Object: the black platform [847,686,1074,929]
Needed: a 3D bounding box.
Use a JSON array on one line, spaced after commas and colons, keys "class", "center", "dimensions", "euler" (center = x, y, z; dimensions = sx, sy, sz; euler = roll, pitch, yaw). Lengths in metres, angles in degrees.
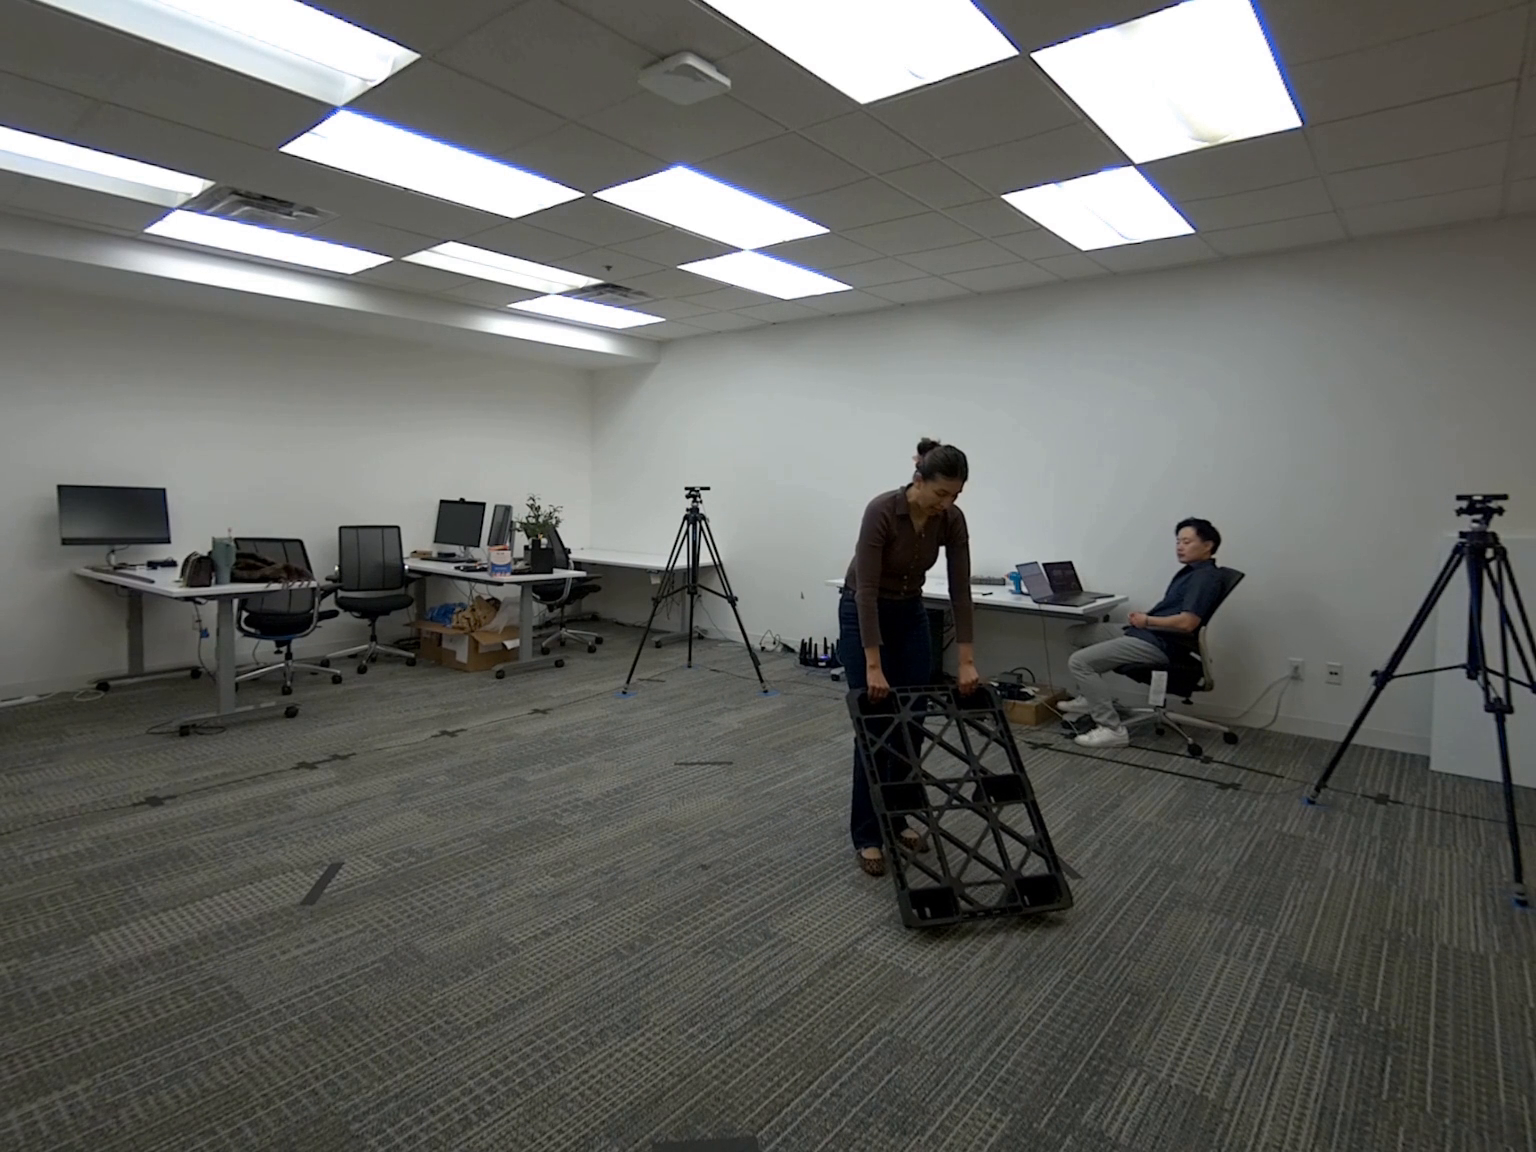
[{"class": "black platform", "center": [0.629, 0.769, 2.957], "dimensions": [0.595, 0.831, 0.141], "euler": [0, -35, -16]}]
